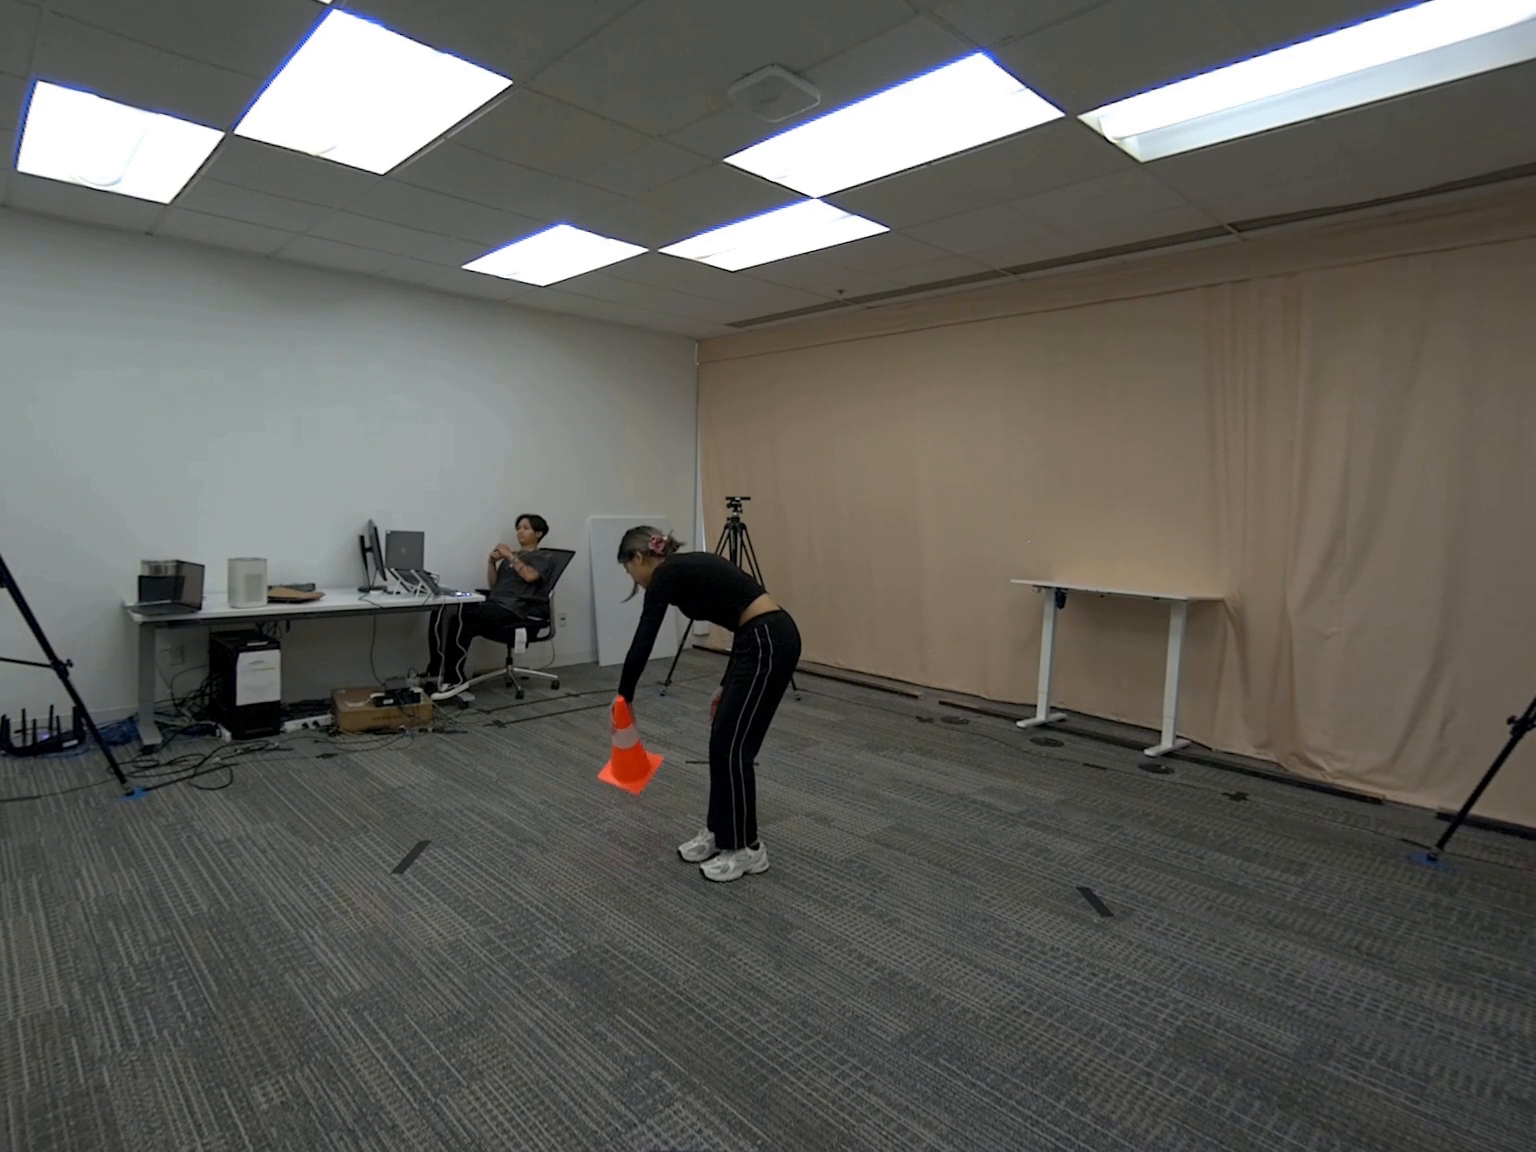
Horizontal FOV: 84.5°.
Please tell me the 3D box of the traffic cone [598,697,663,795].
[{"bbox_3d":[-0.548,0.606,3.237,0.210,0.376,0.203,17,37,25],"label":"traffic cone"}]
